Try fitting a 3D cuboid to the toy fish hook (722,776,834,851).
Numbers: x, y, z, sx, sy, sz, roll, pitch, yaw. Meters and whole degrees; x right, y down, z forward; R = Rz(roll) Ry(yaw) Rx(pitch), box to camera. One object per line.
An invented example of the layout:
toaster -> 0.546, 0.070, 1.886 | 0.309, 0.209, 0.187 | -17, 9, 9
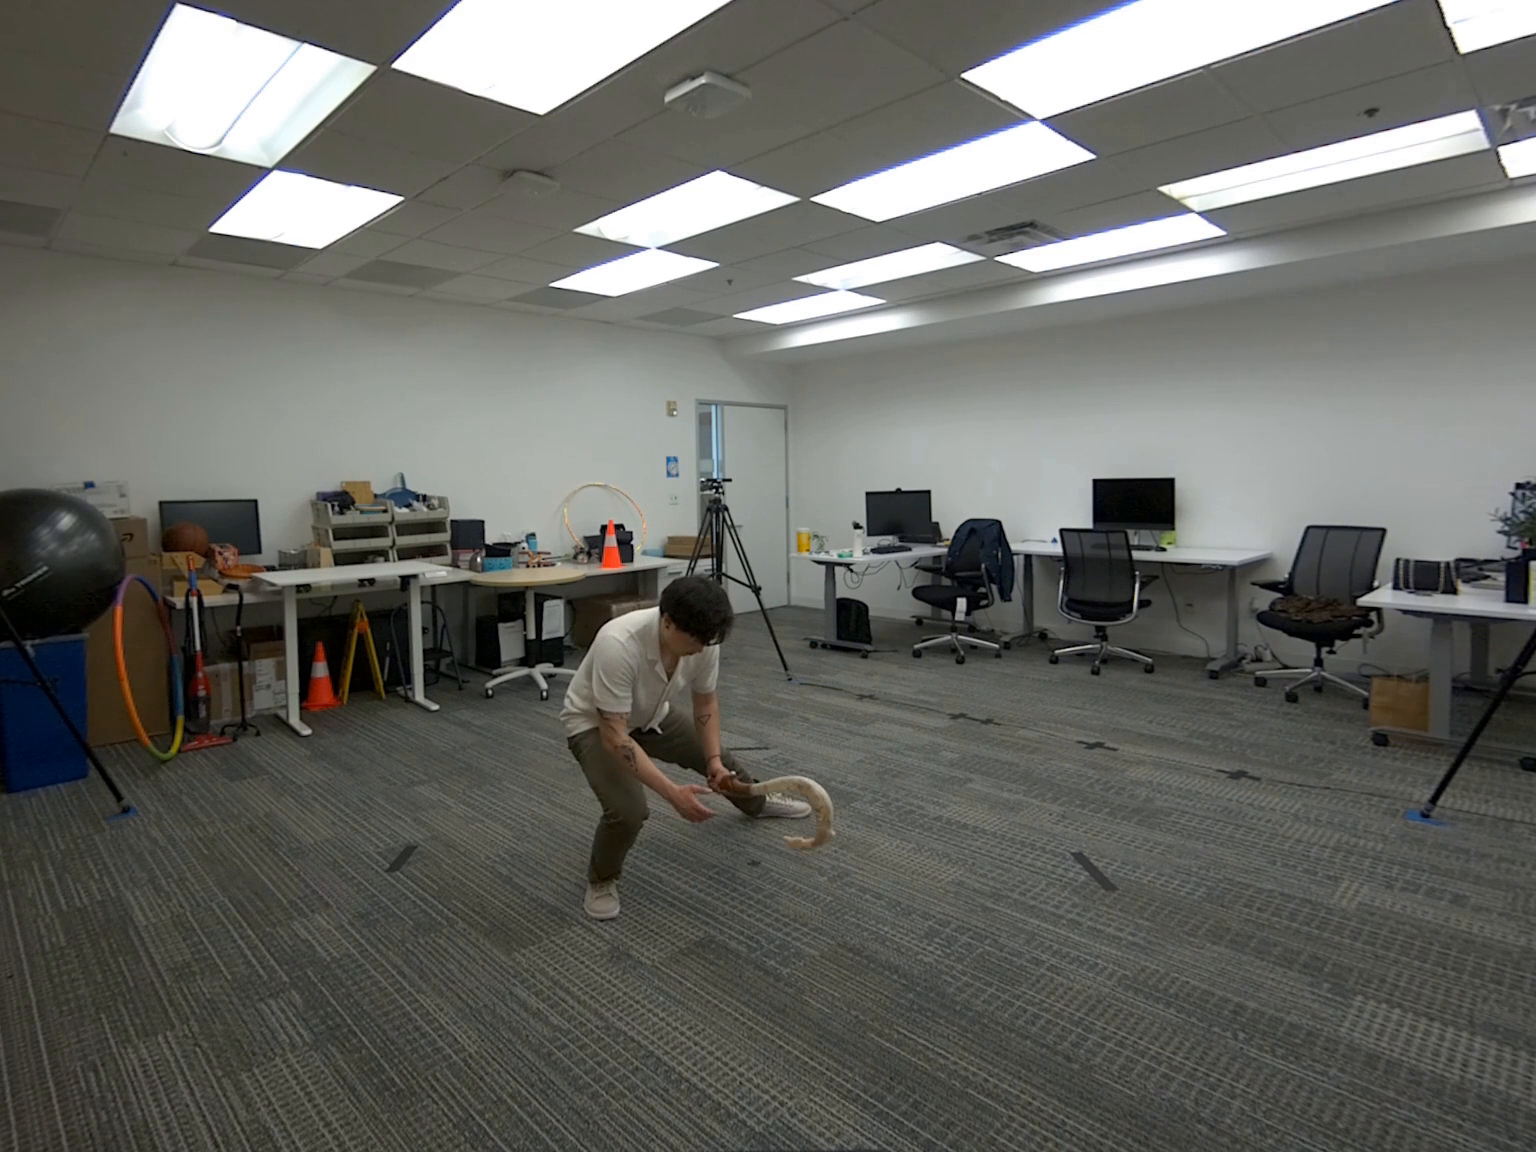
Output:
toy fish hook -> -0.003, 0.719, 2.657 | 0.520, 0.226, 0.047 | -4, -6, 43
